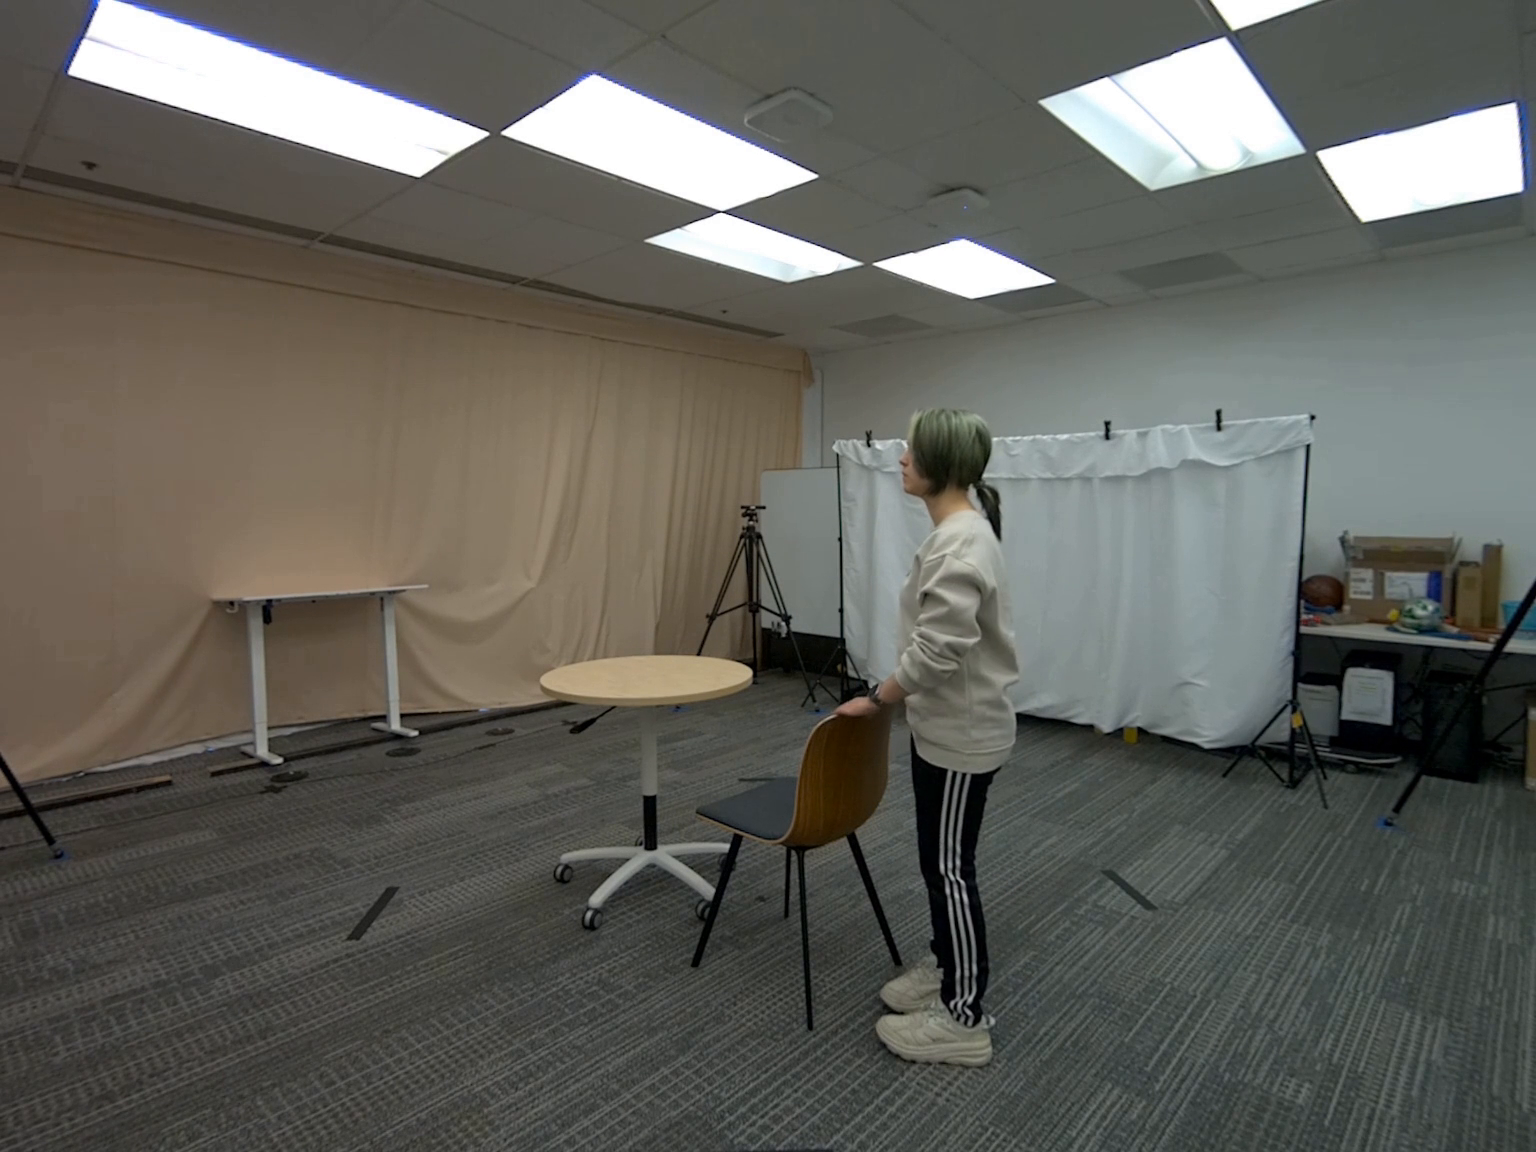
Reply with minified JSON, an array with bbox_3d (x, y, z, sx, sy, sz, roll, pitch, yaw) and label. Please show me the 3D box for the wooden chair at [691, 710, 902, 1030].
[{"bbox_3d":[0.080,0.755,2.526,0.541,0.874,0.463,9,9,42],"label":"wooden chair"}]
